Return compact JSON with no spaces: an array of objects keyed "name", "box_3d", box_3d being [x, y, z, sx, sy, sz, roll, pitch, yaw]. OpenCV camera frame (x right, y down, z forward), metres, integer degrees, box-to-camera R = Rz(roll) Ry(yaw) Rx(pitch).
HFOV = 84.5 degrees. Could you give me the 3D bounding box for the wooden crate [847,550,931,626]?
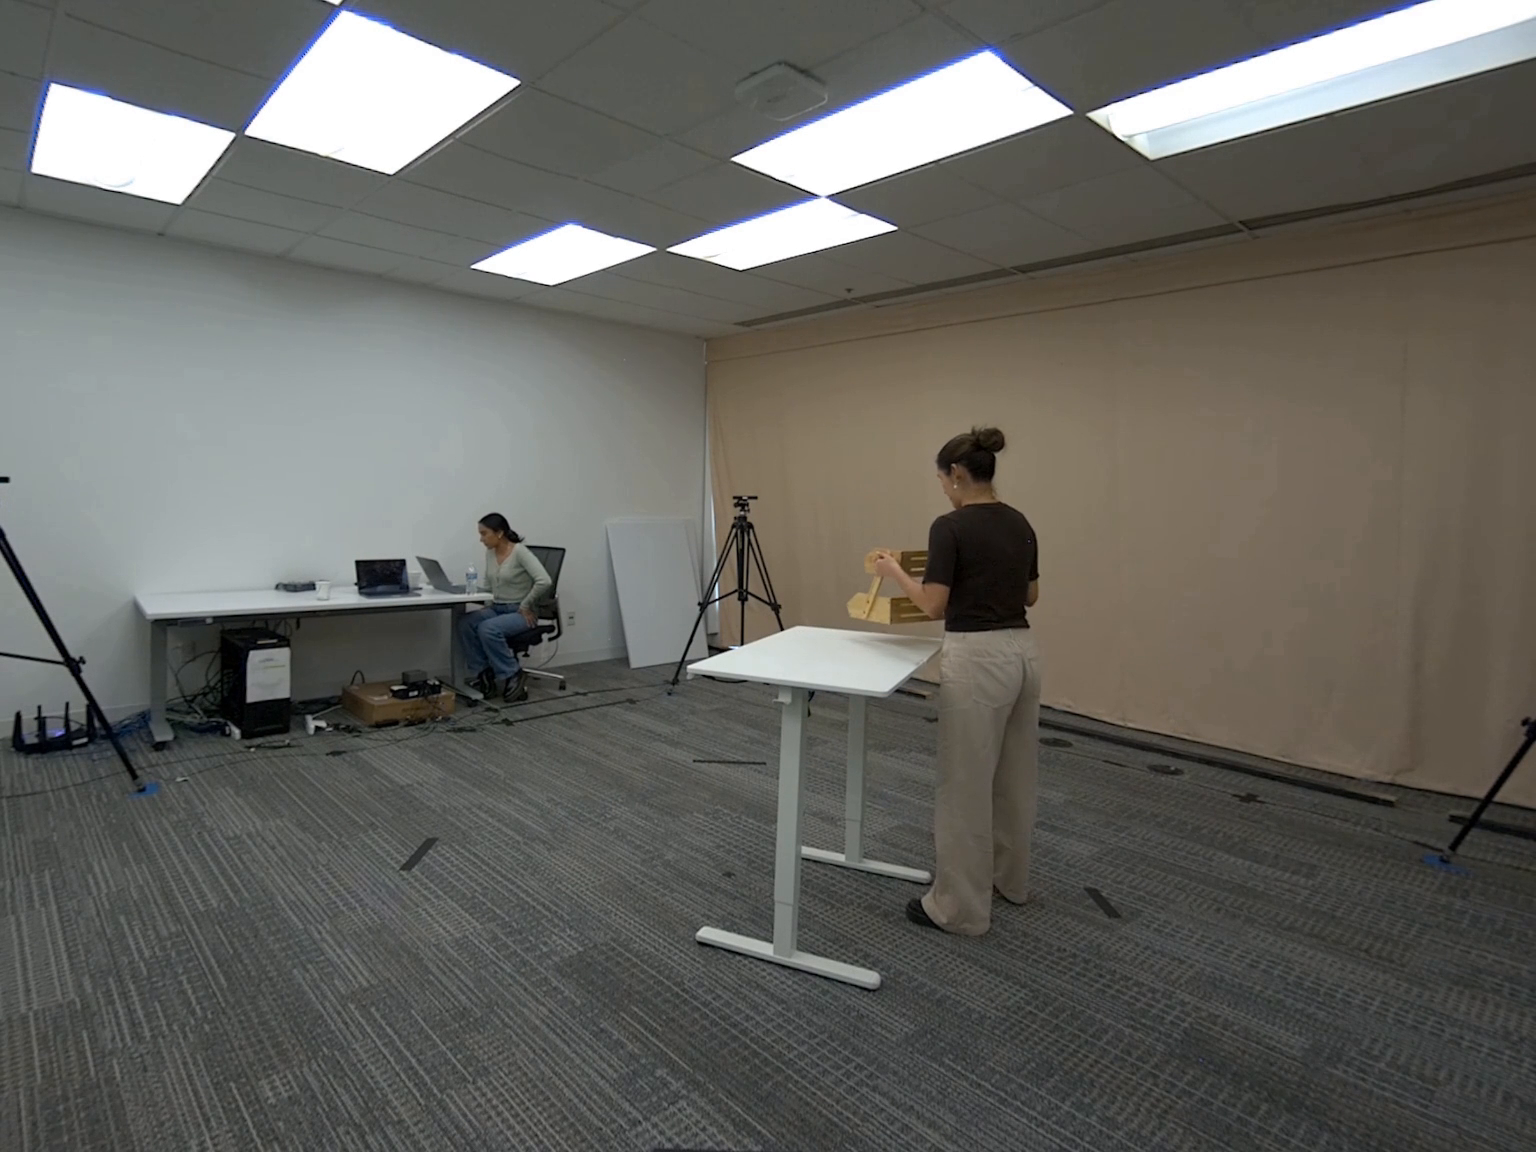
[{"name":"wooden crate","box_3d":[0.498,0.023,3.061,0.318,0.272,0.309,-2,6,-30]}]
